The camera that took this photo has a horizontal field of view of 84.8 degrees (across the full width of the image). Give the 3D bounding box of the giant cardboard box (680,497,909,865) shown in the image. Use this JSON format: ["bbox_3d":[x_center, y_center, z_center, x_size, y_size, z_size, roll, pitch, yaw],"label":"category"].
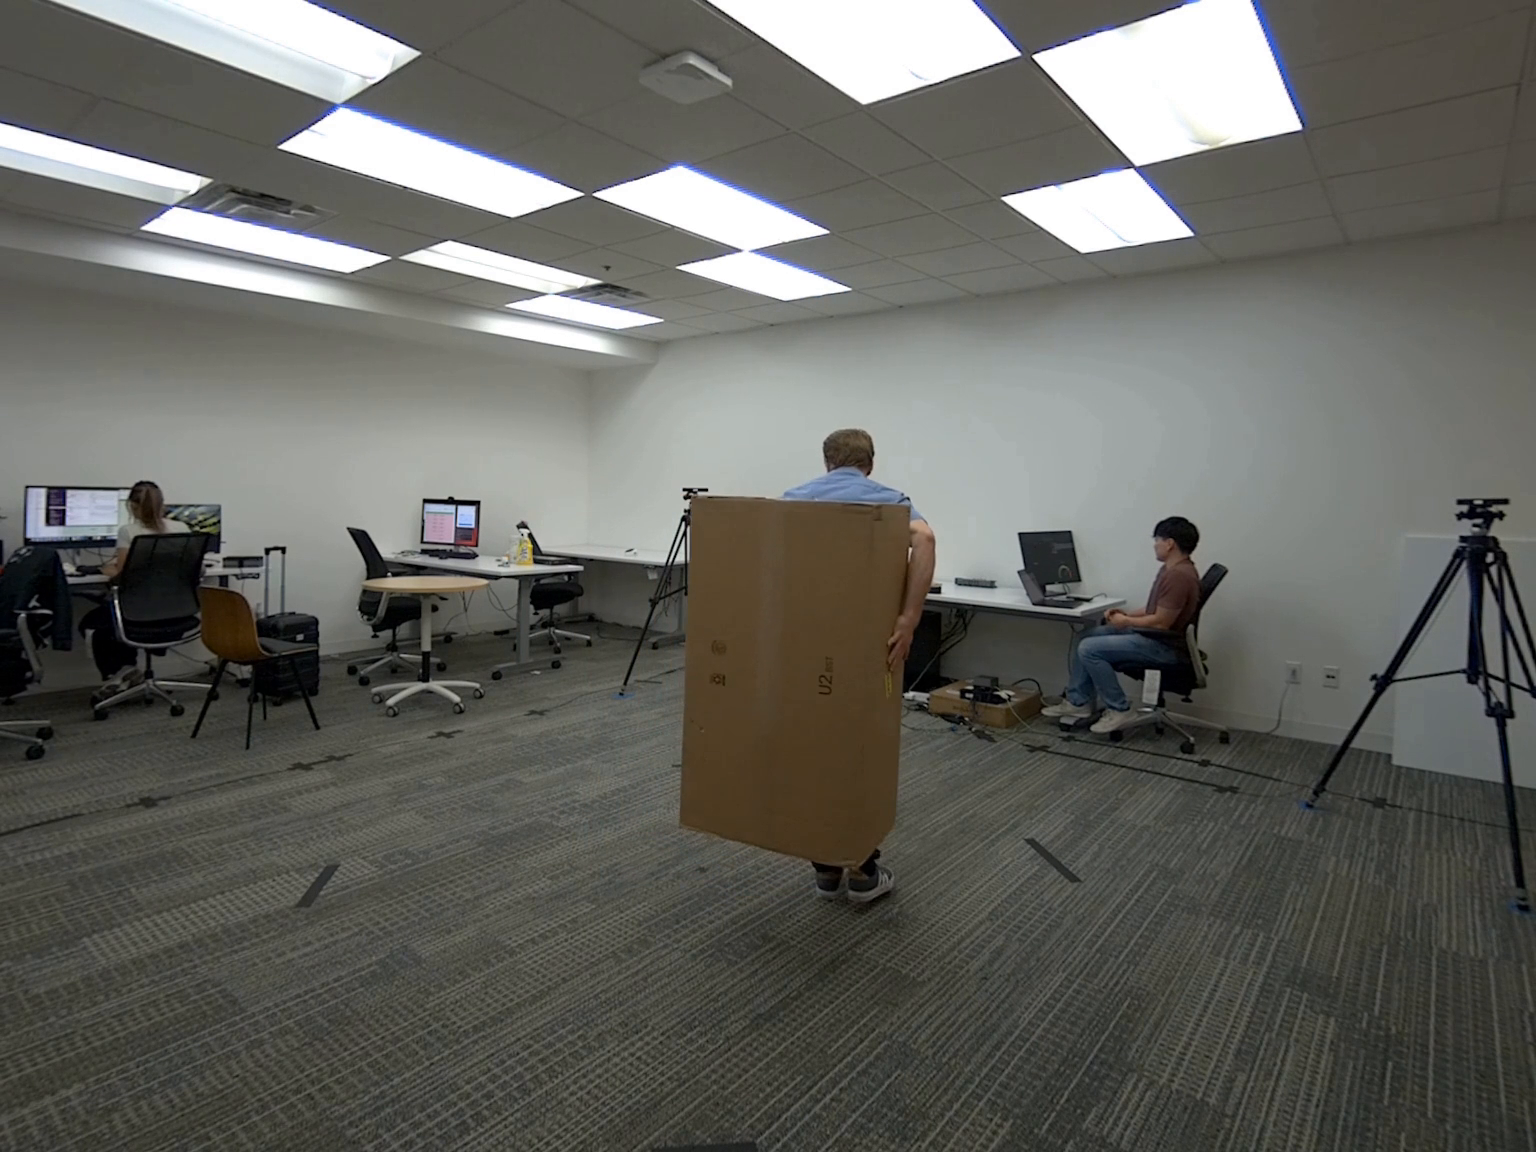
[{"bbox_3d":[0.083,0.279,2.642,0.599,1.024,0.437,4,3,24],"label":"giant cardboard box"}]
